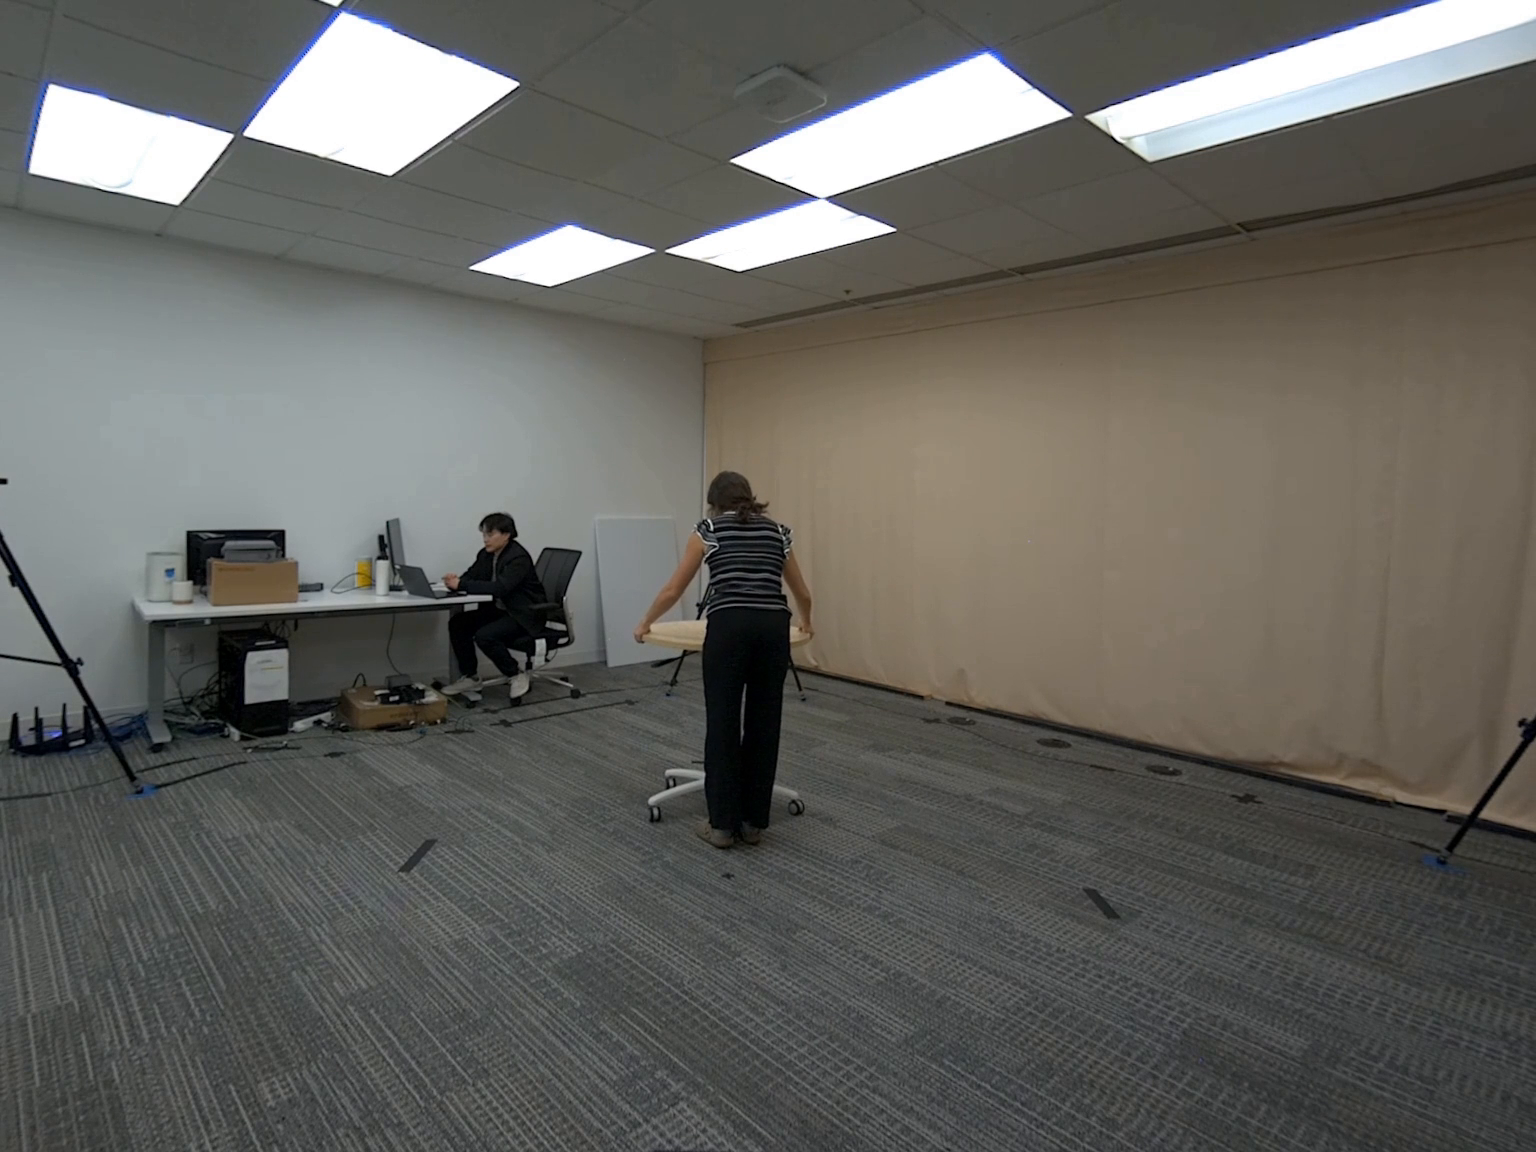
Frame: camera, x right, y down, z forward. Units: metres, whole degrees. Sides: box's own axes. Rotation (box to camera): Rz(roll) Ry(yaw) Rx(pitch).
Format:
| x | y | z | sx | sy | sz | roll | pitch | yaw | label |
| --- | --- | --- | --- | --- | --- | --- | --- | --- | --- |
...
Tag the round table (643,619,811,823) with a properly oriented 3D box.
| x | y | z | sx | sy | sz | roll | pitch | yaw | label |
| --- | --- | --- | --- | --- | --- | --- | --- | --- | --- |
| -0.209 | 0.653 | 3.786 | 0.763 | 0.792 | 0.766 | 2 | 3 | -1 | round table |
